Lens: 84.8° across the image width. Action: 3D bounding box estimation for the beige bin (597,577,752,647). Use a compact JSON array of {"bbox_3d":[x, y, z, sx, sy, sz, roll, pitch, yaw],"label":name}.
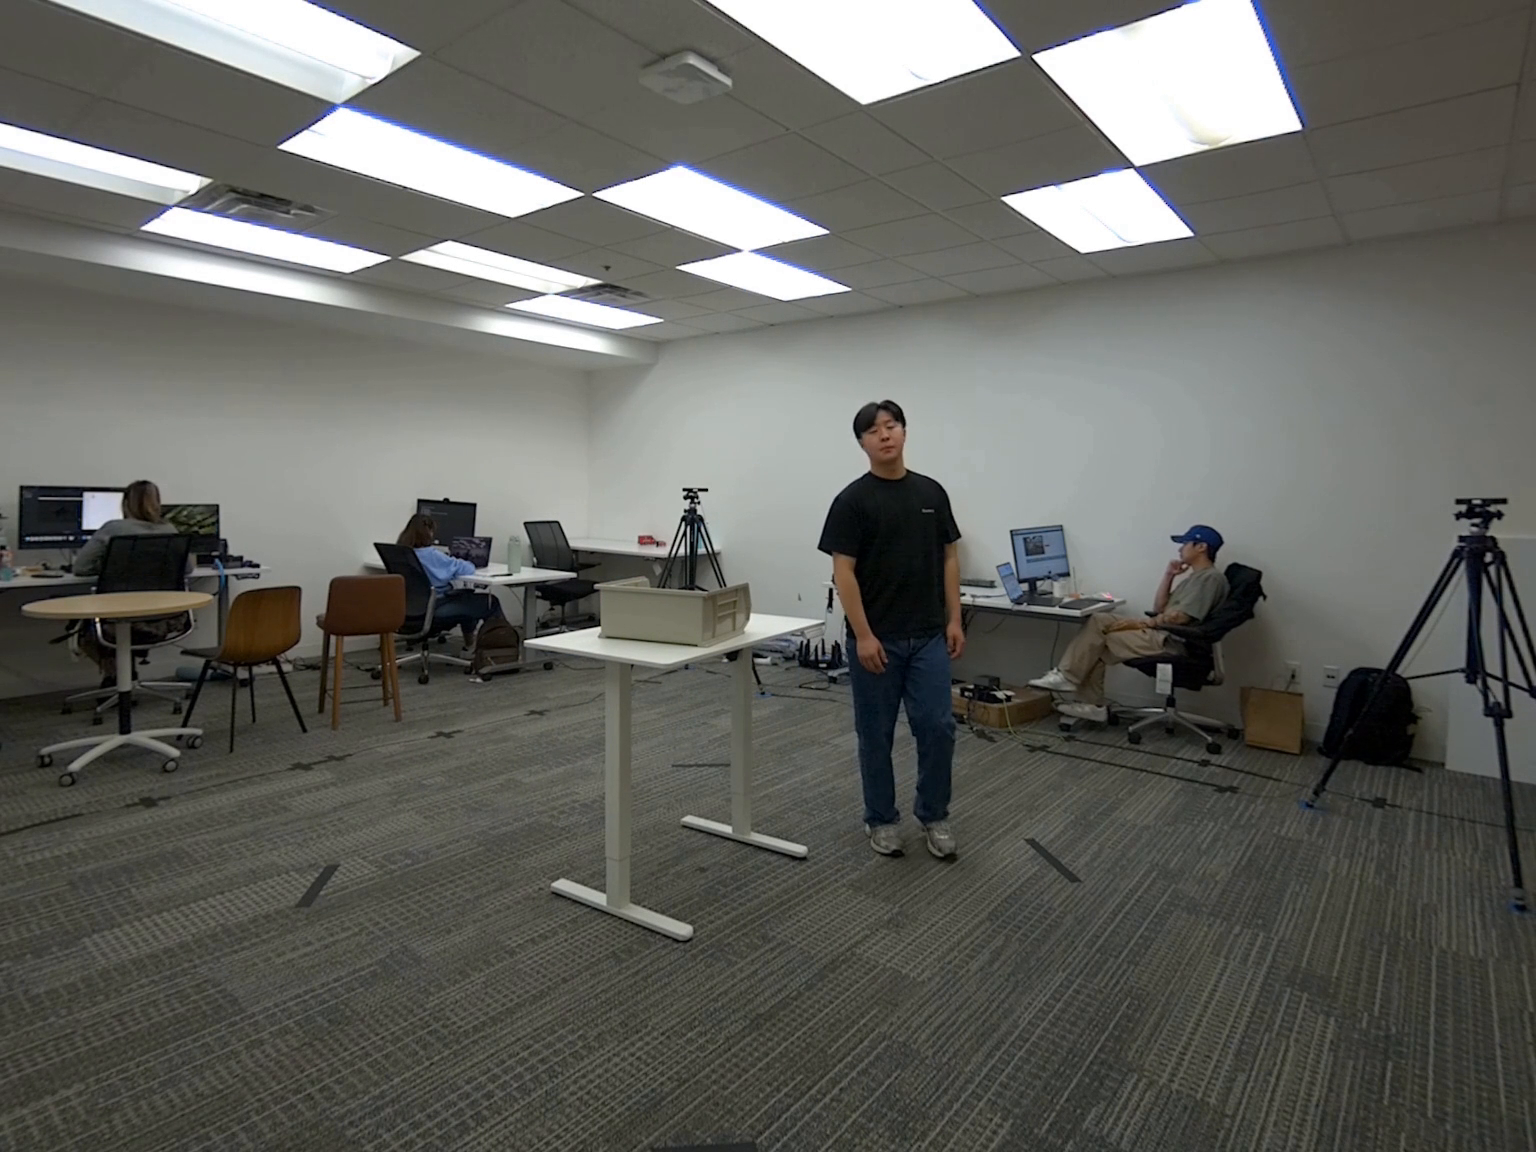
[{"bbox_3d":[-0.332,0.115,2.940,0.433,0.188,0.370,3,7,23],"label":"beige bin"}]
